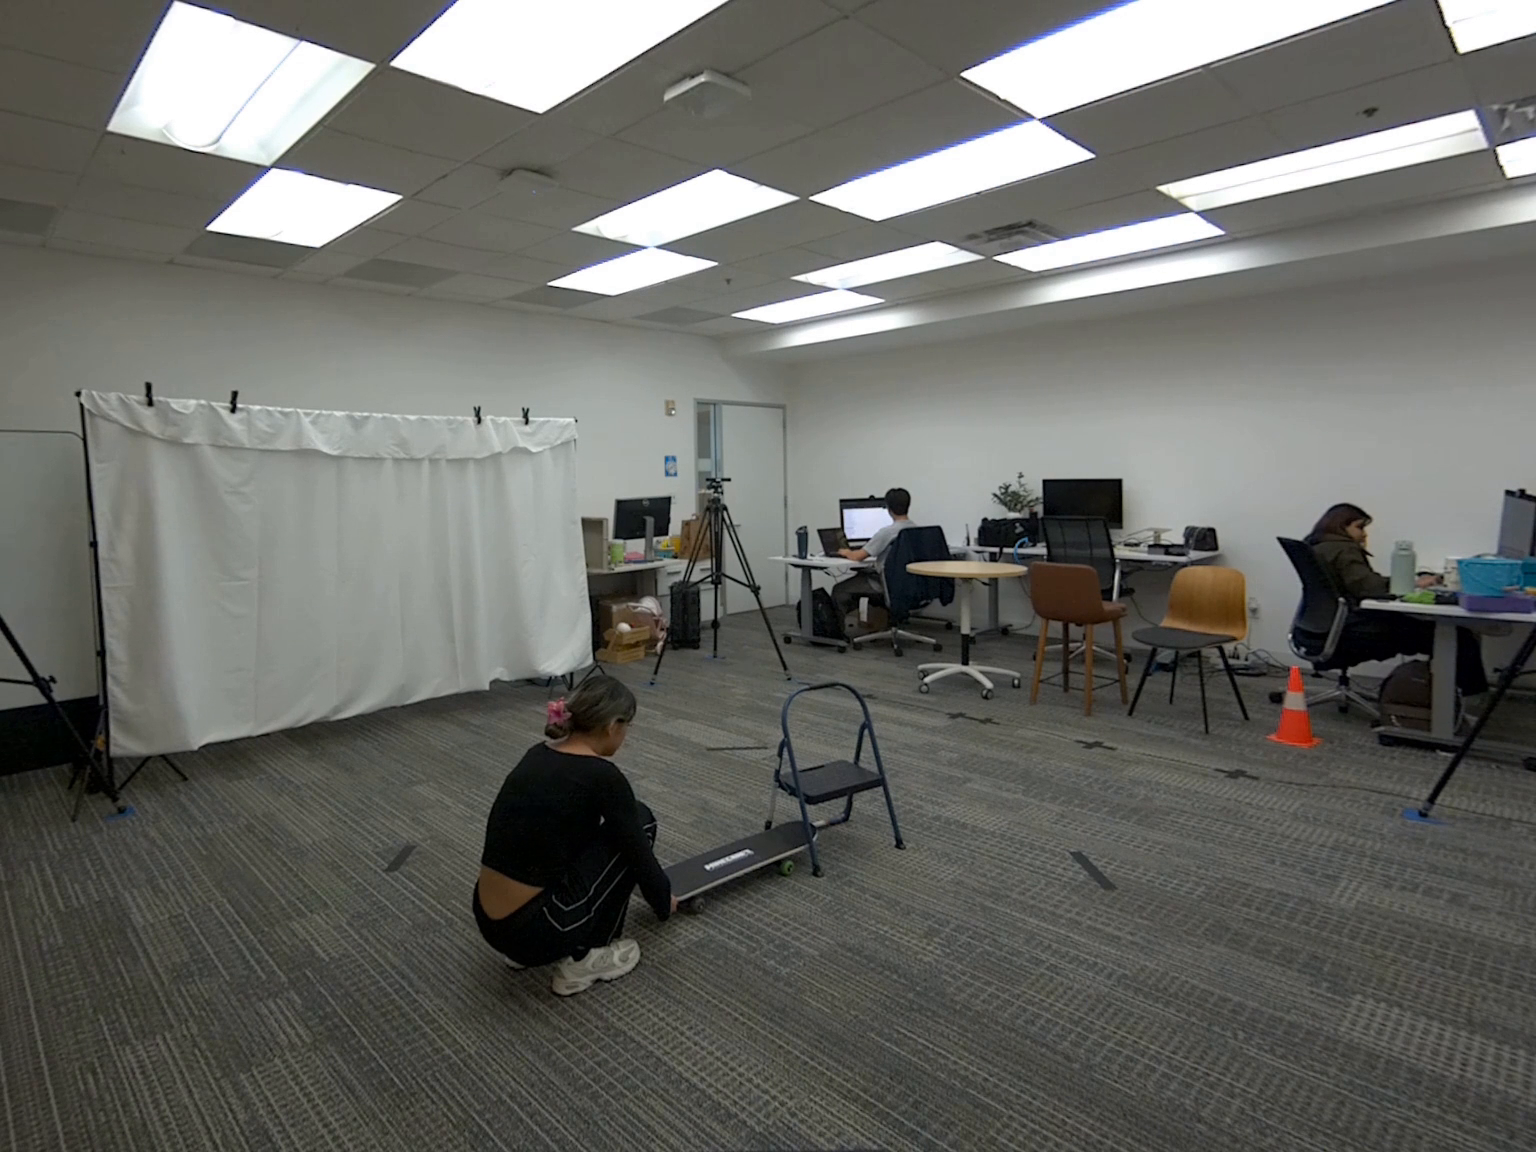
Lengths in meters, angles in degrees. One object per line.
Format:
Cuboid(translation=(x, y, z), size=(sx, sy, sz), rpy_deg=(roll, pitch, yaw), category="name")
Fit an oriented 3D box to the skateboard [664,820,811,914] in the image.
Cuboid(translation=(-0.132, 1.003, 2.945), size=(0.765, 0.110, 0.199), rpy_deg=(-7, 8, -41), category="skateboard")
